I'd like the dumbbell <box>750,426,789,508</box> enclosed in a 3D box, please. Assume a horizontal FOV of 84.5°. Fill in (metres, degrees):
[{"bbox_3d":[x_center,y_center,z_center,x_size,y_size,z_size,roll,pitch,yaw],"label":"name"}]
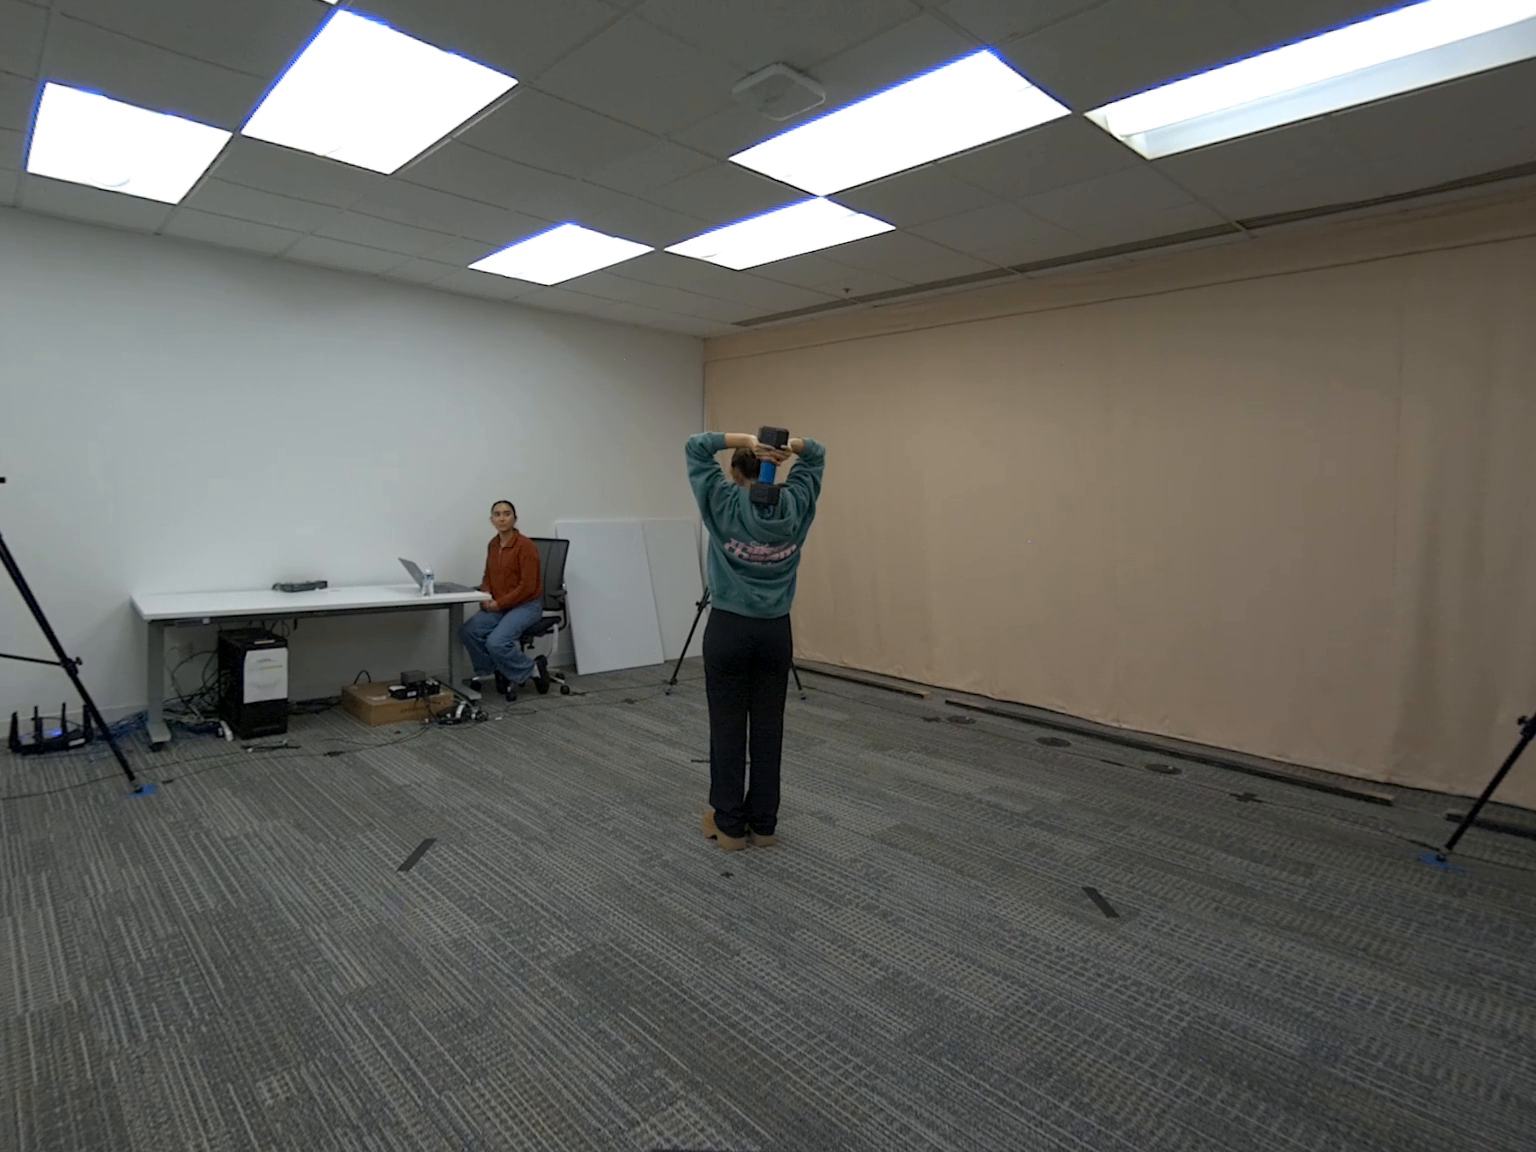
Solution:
[{"bbox_3d":[-0.006,-0.419,3.176,0.107,0.292,0.125,5,7,-17],"label":"dumbbell"}]
